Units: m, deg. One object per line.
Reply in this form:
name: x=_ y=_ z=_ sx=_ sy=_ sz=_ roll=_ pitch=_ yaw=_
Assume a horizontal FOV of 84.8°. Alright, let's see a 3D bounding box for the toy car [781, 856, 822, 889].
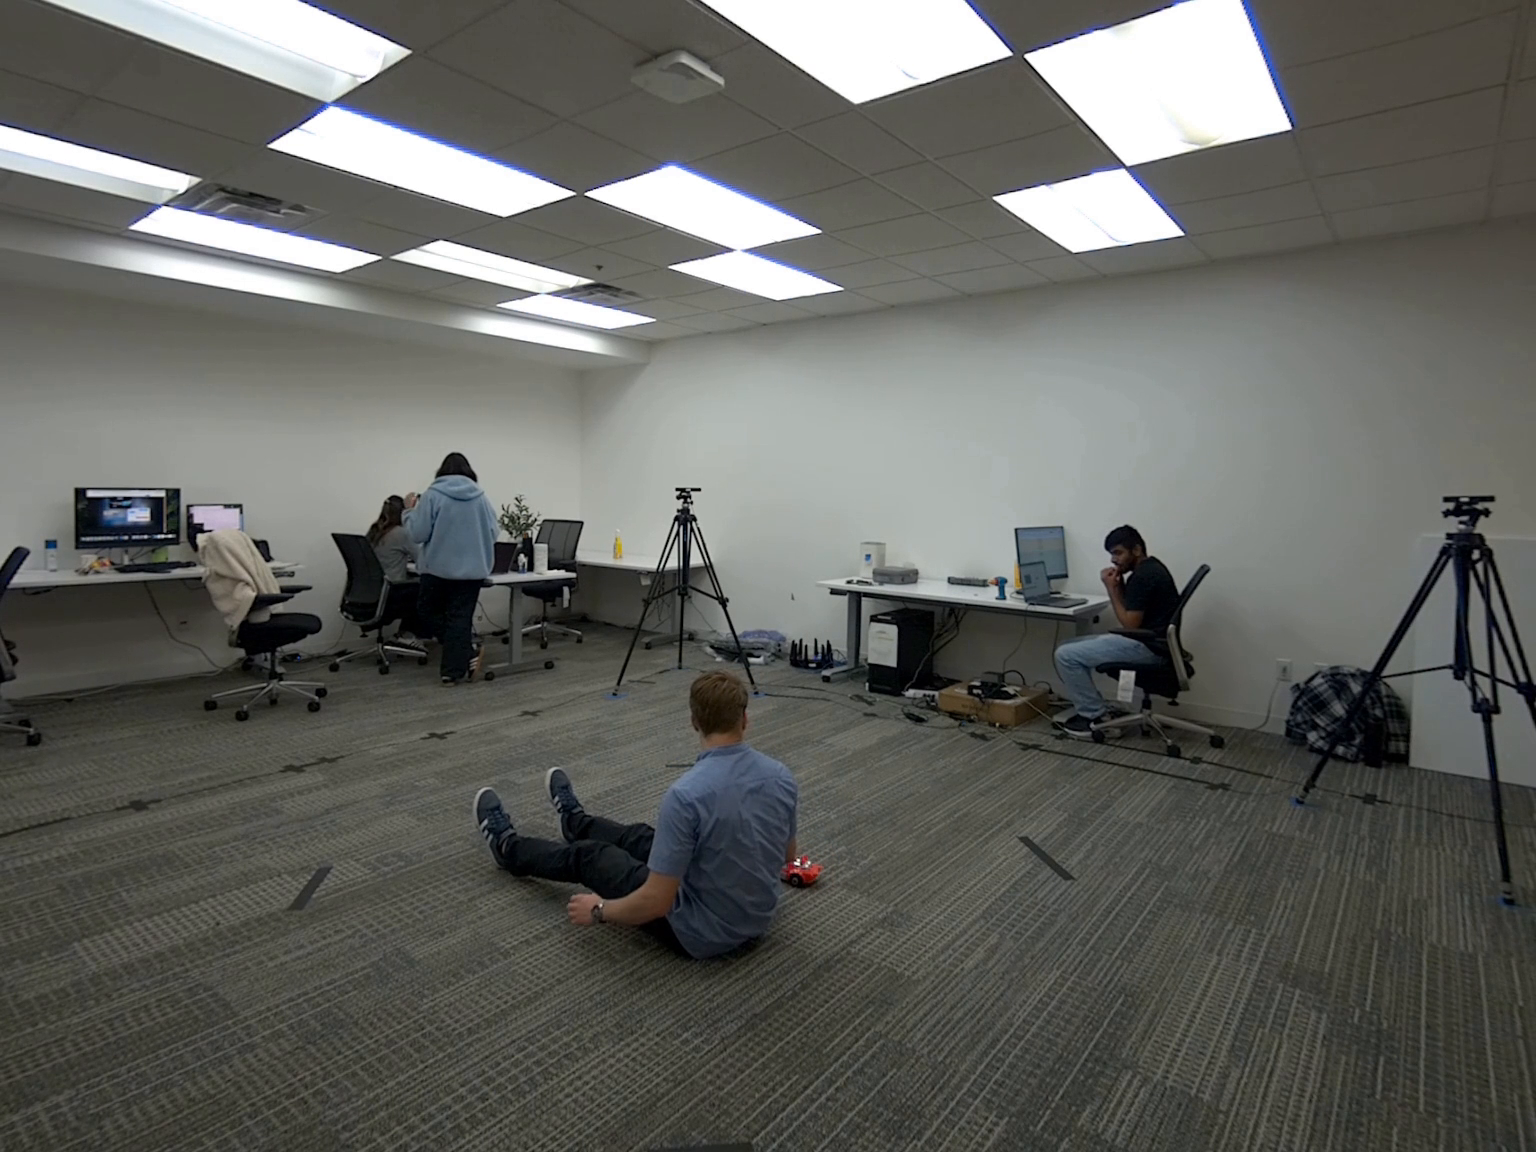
toy car: x=0.071 y=1.051 z=3.049 sx=0.260 sy=0.083 sz=0.127 roll=-10 pitch=-2 yaw=25
